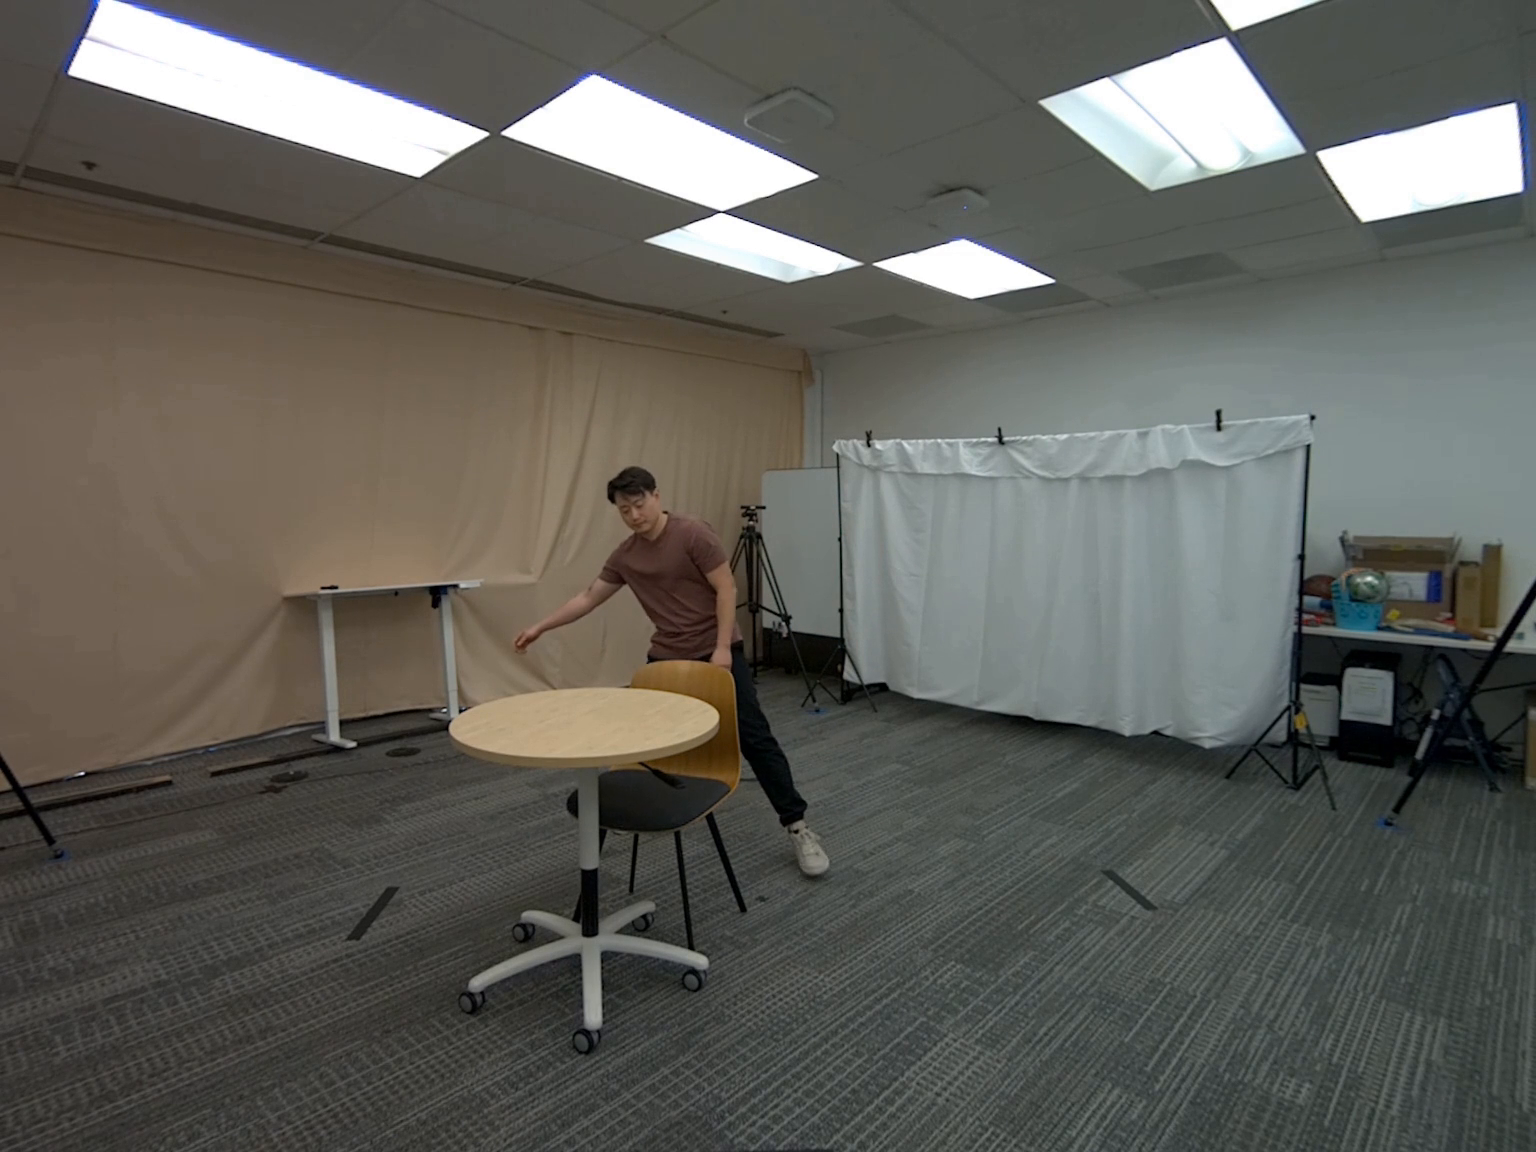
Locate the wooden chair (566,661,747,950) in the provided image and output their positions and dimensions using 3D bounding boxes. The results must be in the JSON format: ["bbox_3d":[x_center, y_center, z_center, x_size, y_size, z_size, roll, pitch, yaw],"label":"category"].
[{"bbox_3d":[-0.349,0.740,2.729,0.489,0.877,0.511,1,0,21],"label":"wooden chair"}]
